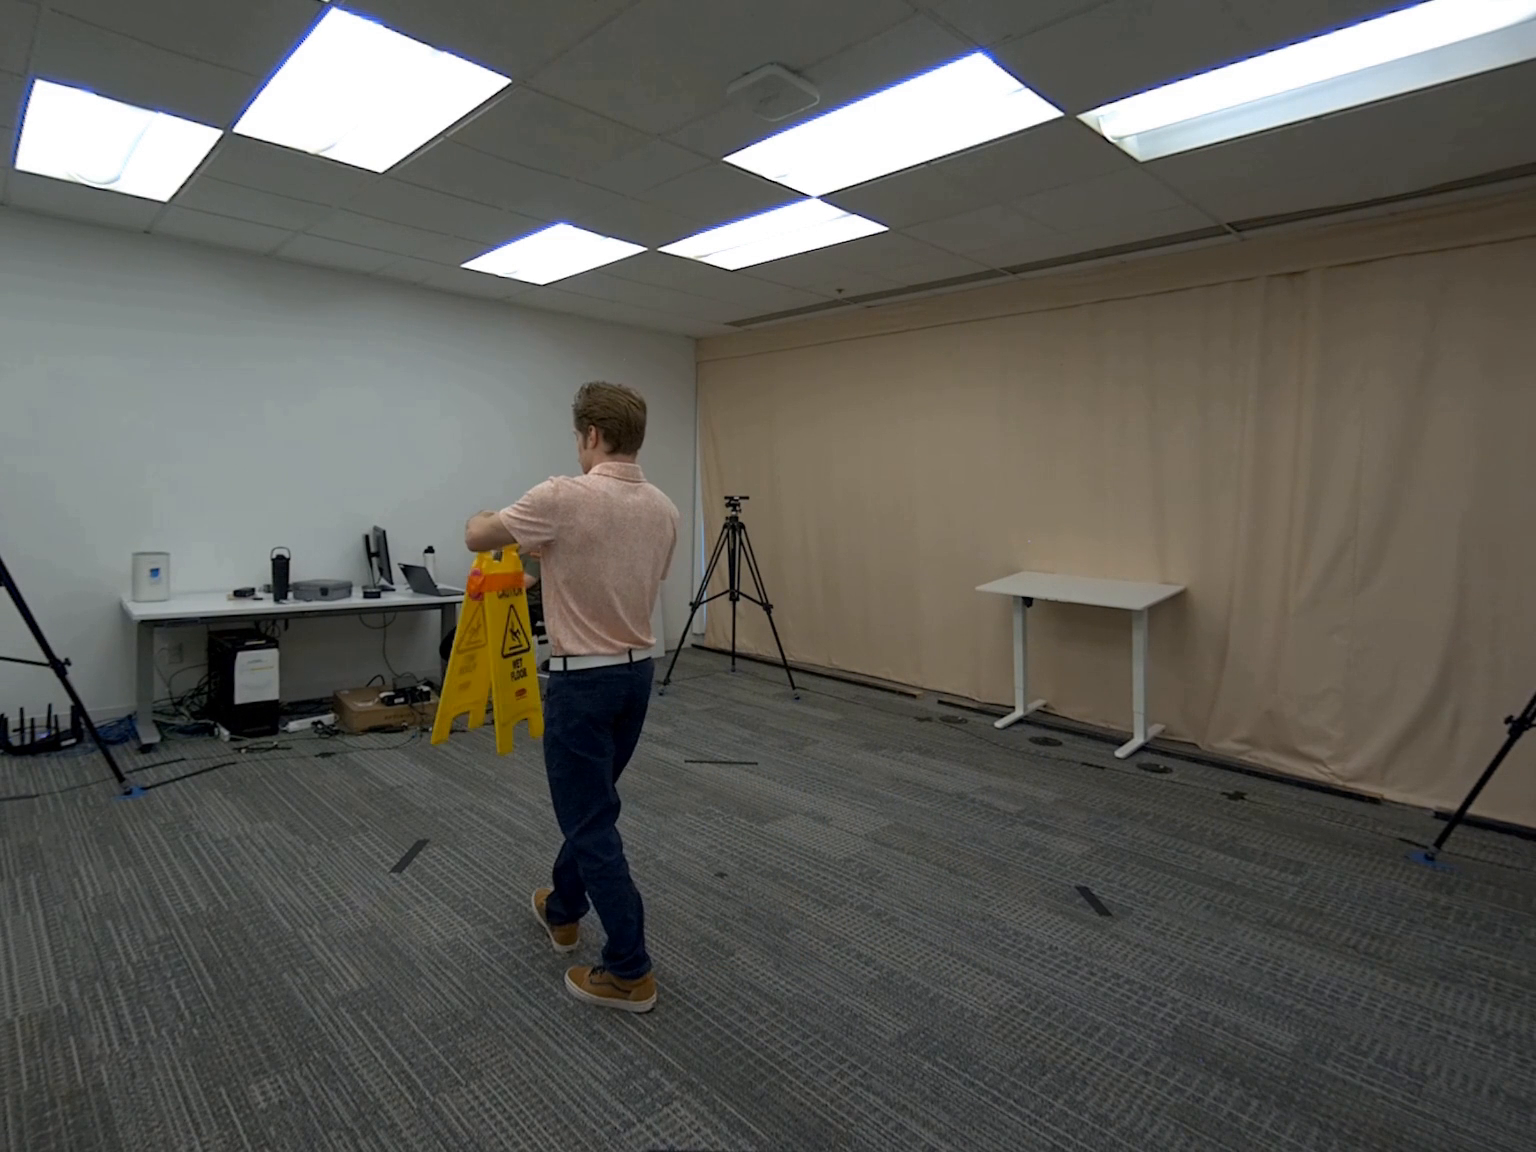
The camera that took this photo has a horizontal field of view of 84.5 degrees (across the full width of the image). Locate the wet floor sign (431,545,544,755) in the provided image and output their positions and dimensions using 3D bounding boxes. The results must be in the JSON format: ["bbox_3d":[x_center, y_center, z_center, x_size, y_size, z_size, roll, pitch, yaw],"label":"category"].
[{"bbox_3d":[-0.872,0.198,2.646,0.293,0.645,0.279,4,2,13],"label":"wet floor sign"}]
